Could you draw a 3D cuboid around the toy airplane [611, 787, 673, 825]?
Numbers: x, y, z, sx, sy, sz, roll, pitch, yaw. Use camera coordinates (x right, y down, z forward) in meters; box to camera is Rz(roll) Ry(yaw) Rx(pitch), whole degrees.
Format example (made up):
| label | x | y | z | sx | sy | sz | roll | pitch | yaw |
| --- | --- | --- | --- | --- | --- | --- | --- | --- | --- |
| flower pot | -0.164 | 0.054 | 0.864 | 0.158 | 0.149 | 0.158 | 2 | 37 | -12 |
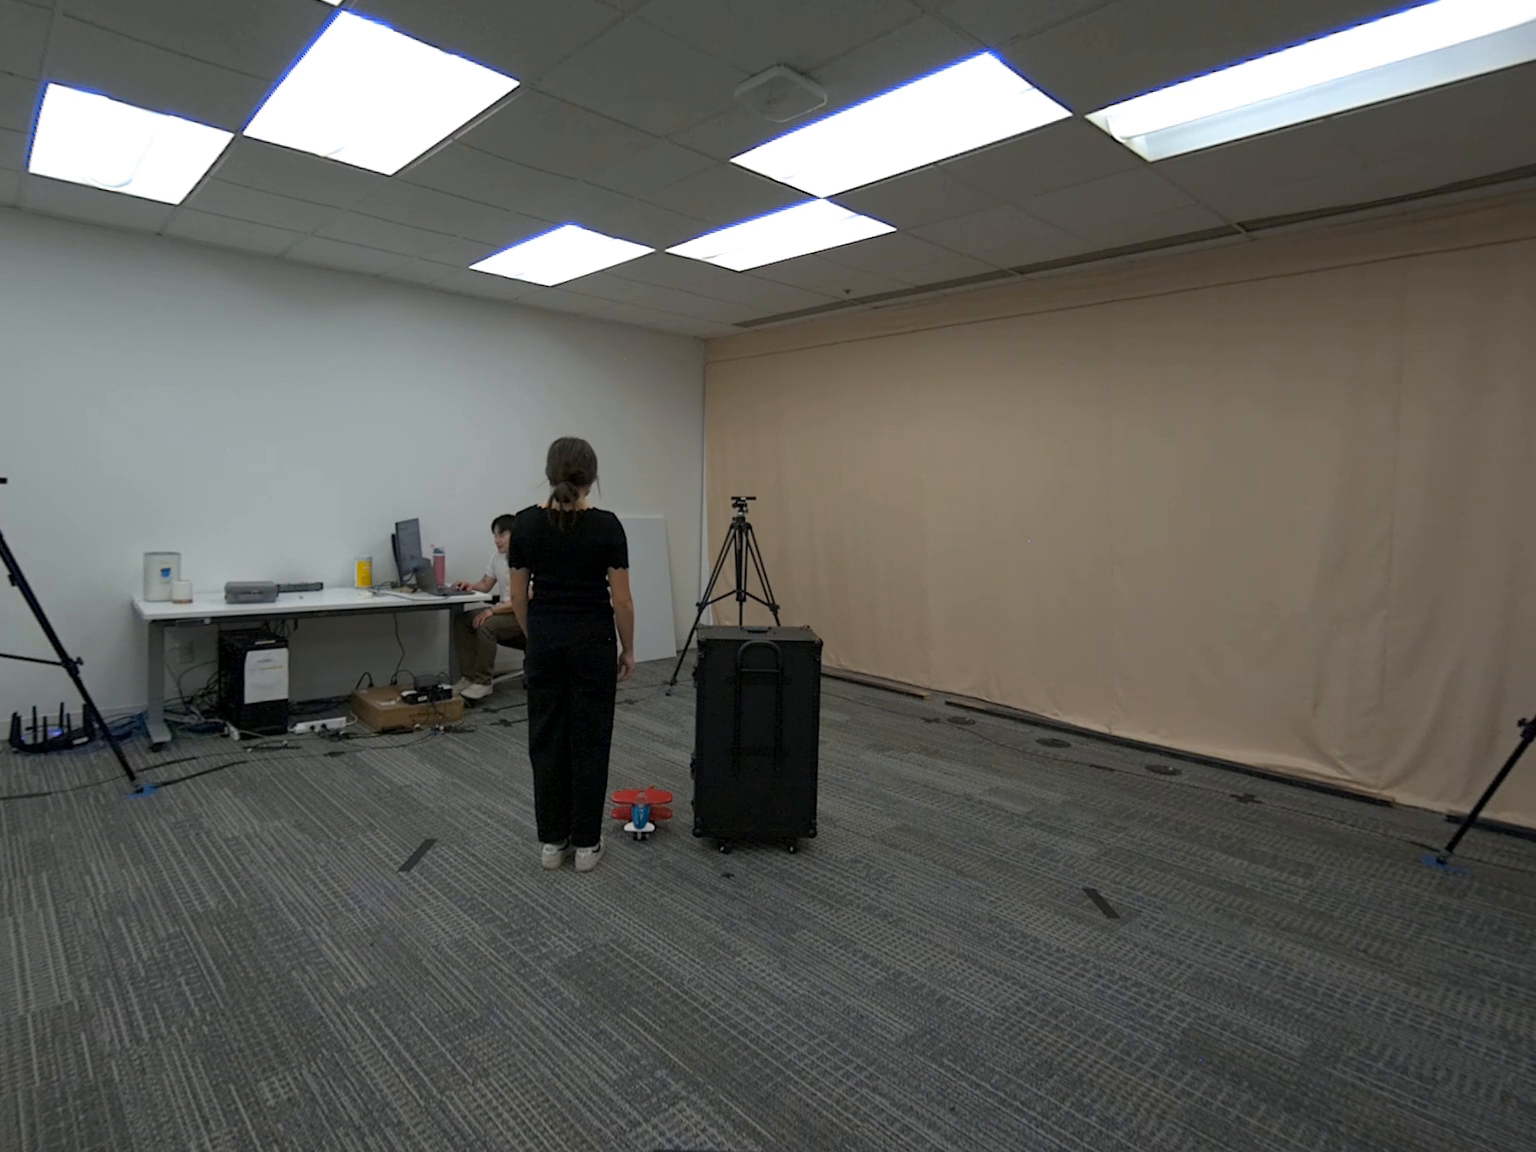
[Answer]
| label | x | y | z | sx | sy | sz | roll | pitch | yaw |
| --- | --- | --- | --- | --- | --- | --- | --- | --- | --- |
| toy airplane | -0.514 | 0.983 | 3.500 | 0.246 | 0.156 | 0.265 | -2 | 4 | -31 |
